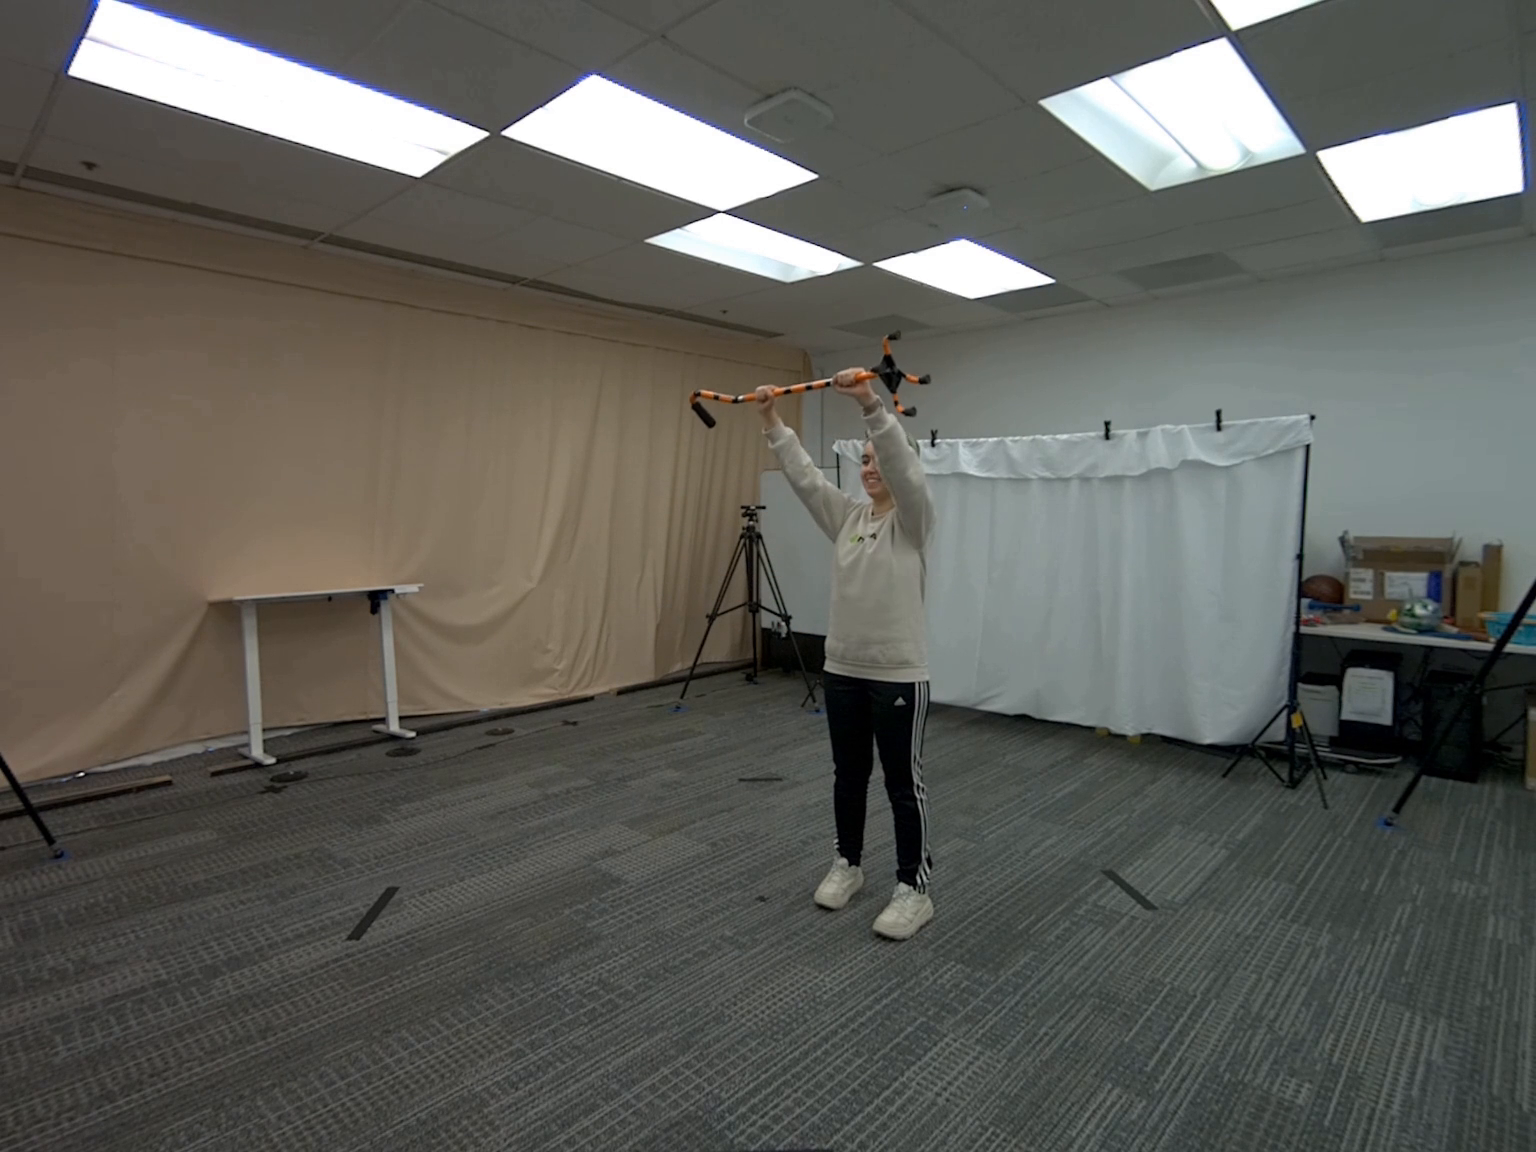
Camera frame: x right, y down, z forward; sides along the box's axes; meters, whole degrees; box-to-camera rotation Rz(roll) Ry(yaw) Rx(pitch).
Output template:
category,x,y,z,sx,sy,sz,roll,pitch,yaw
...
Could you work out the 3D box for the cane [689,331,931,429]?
category,x,y,z,sx,sy,sz,roll,pitch,yaw
cane,0.060,-0.571,2.658,0.938,0.151,0.200,2,-35,47
